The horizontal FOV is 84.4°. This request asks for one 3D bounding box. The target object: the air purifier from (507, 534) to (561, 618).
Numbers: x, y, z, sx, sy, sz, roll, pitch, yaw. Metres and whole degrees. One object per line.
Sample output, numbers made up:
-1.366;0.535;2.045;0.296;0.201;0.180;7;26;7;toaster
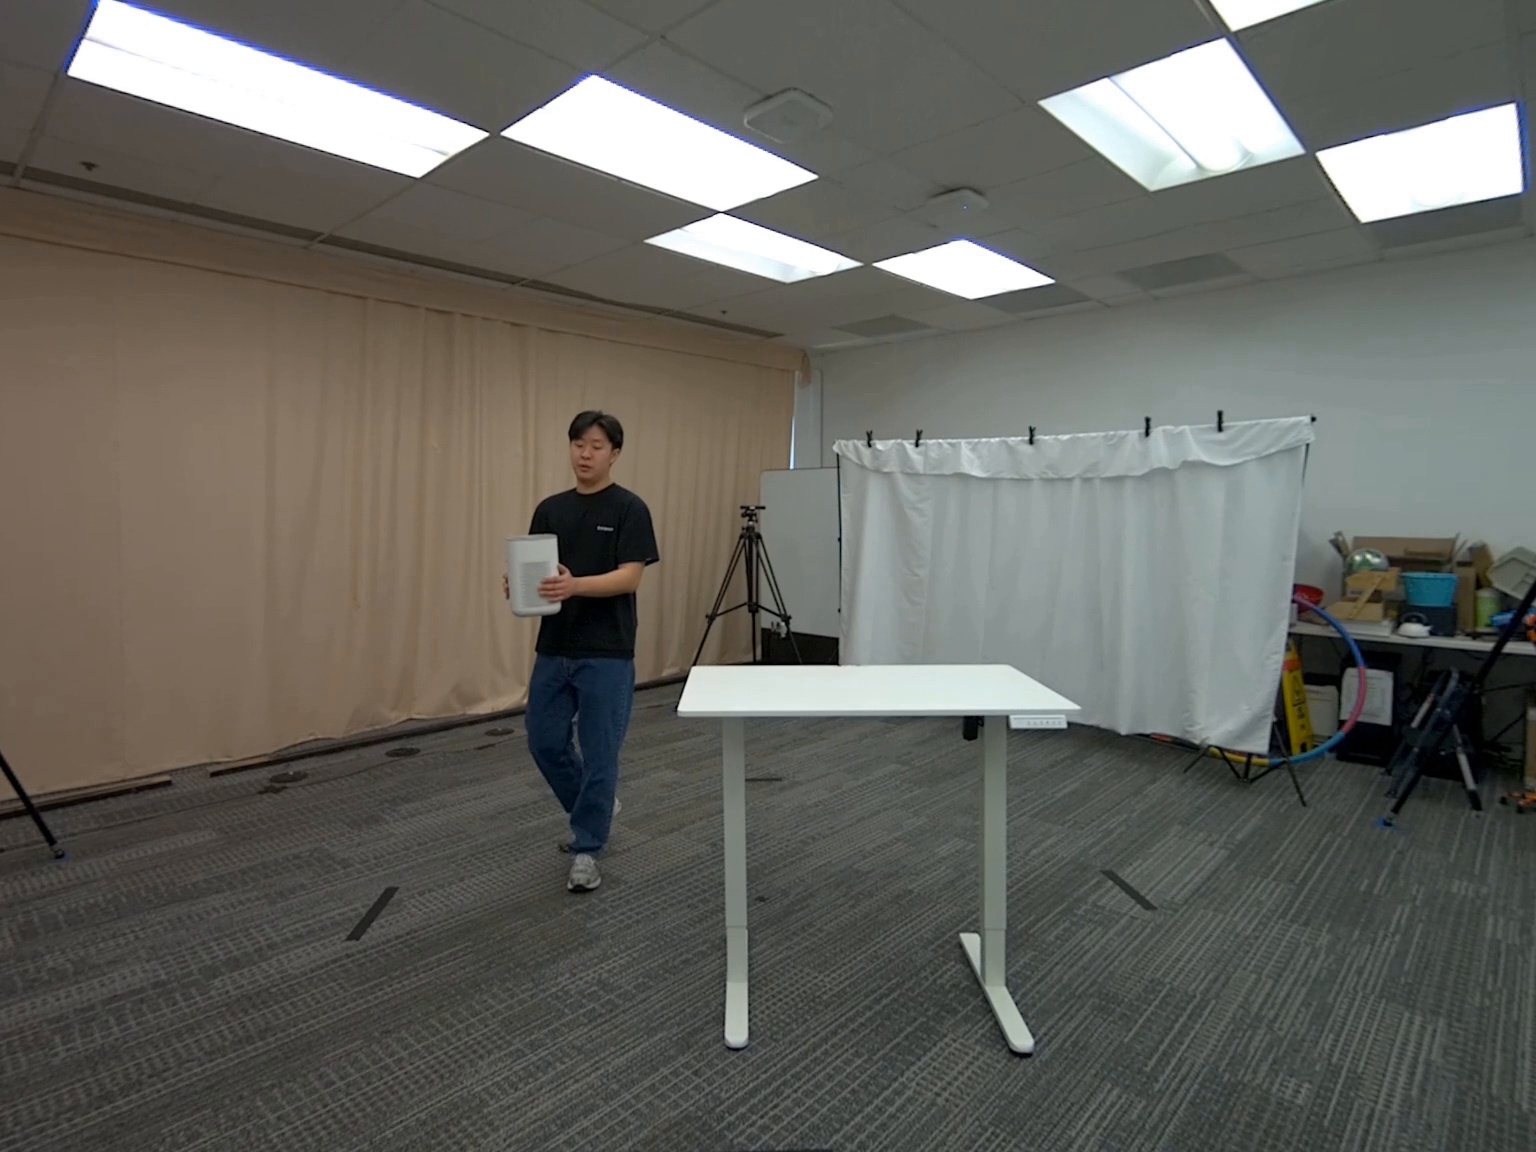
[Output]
-0.808;-0.003;2.877;0.168;0.264;0.175;-4;7;-22;air purifier
